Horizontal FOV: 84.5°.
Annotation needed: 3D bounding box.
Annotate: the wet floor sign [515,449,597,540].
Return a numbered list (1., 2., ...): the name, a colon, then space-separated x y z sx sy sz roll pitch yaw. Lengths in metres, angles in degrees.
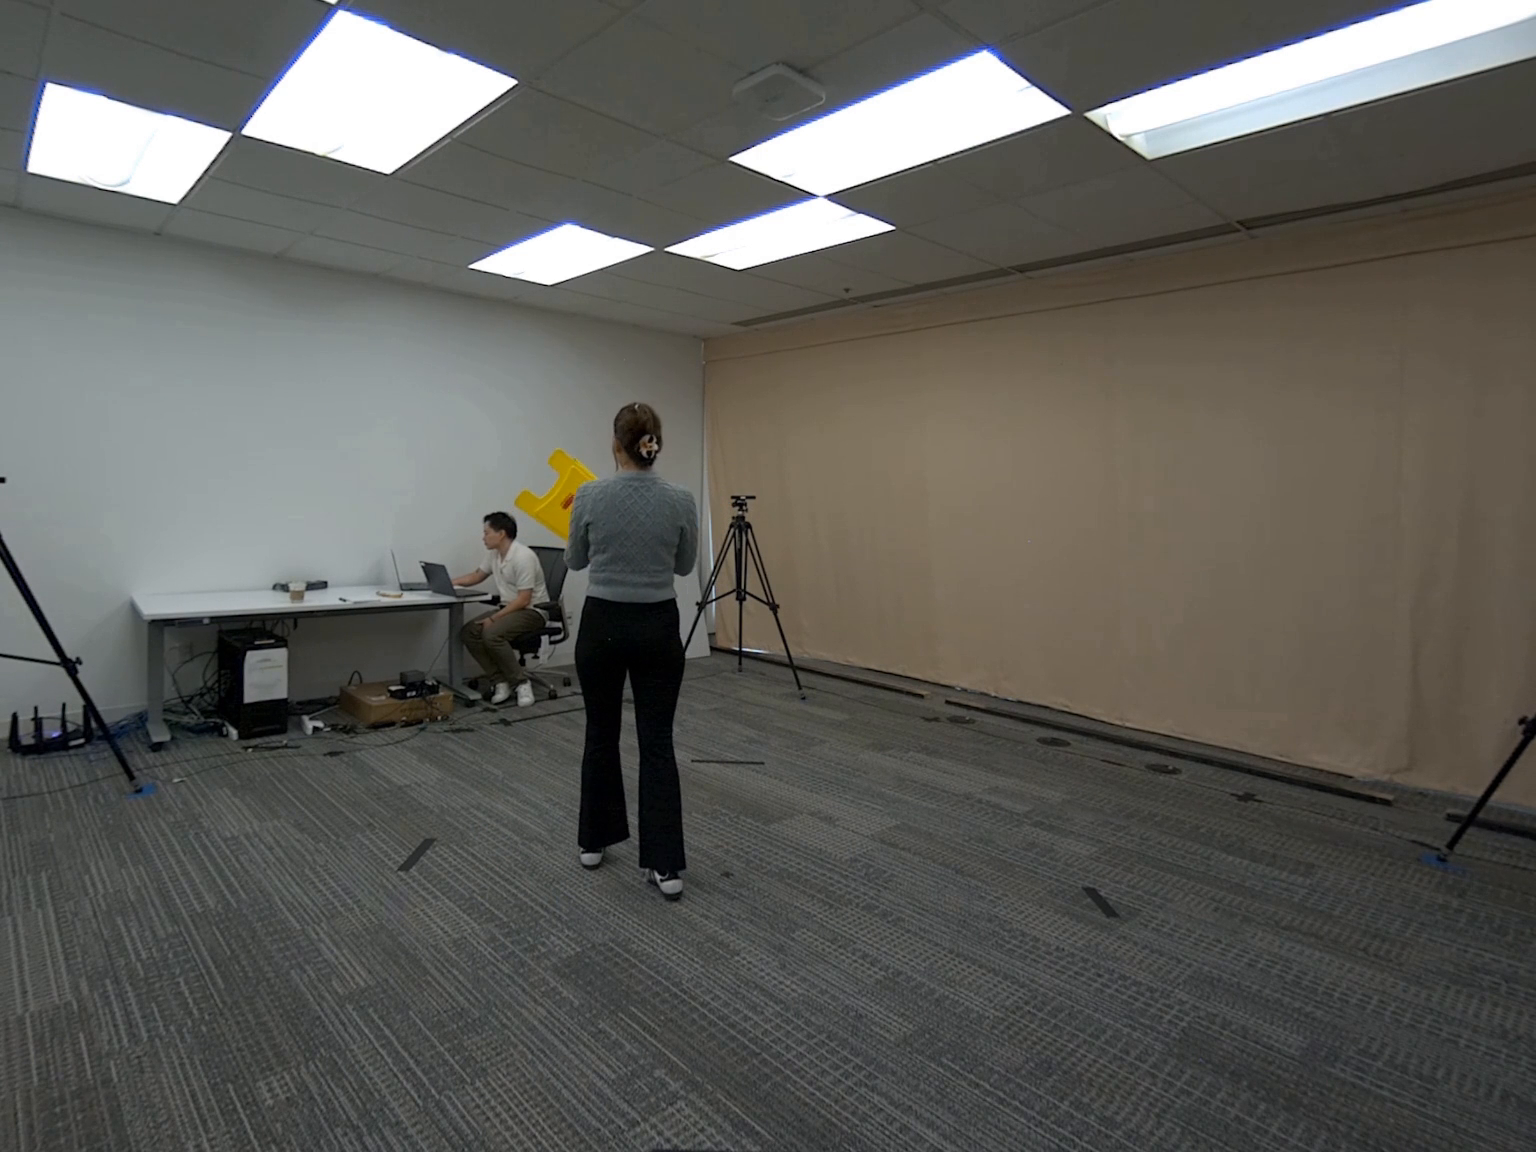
1. wet floor sign: -0.651 -0.182 3.359 0.647 0.282 0.289 40 -1 1
